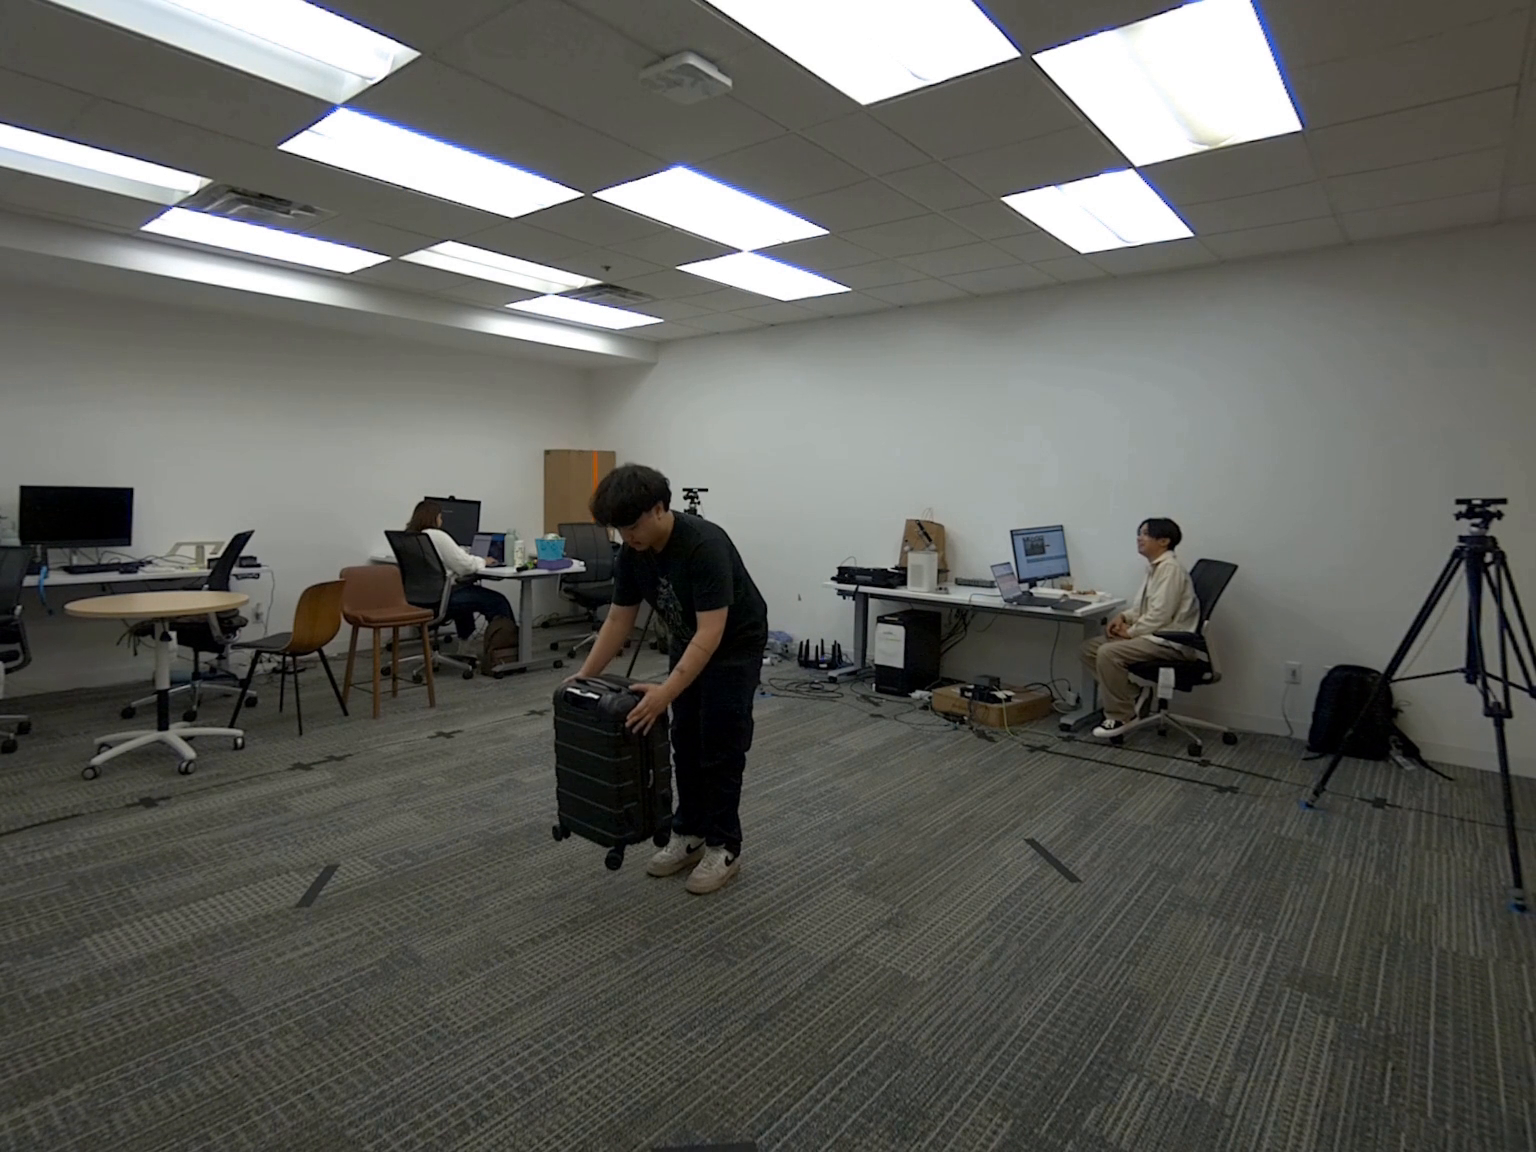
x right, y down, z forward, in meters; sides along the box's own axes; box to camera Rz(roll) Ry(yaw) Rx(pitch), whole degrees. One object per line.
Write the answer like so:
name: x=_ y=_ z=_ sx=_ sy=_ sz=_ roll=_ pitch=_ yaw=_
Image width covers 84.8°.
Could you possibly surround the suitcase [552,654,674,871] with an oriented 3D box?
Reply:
suitcase: x=-0.525 y=0.605 z=2.784 sx=0.388 sy=0.547 sz=0.241 roll=3 pitch=6 yaw=42
